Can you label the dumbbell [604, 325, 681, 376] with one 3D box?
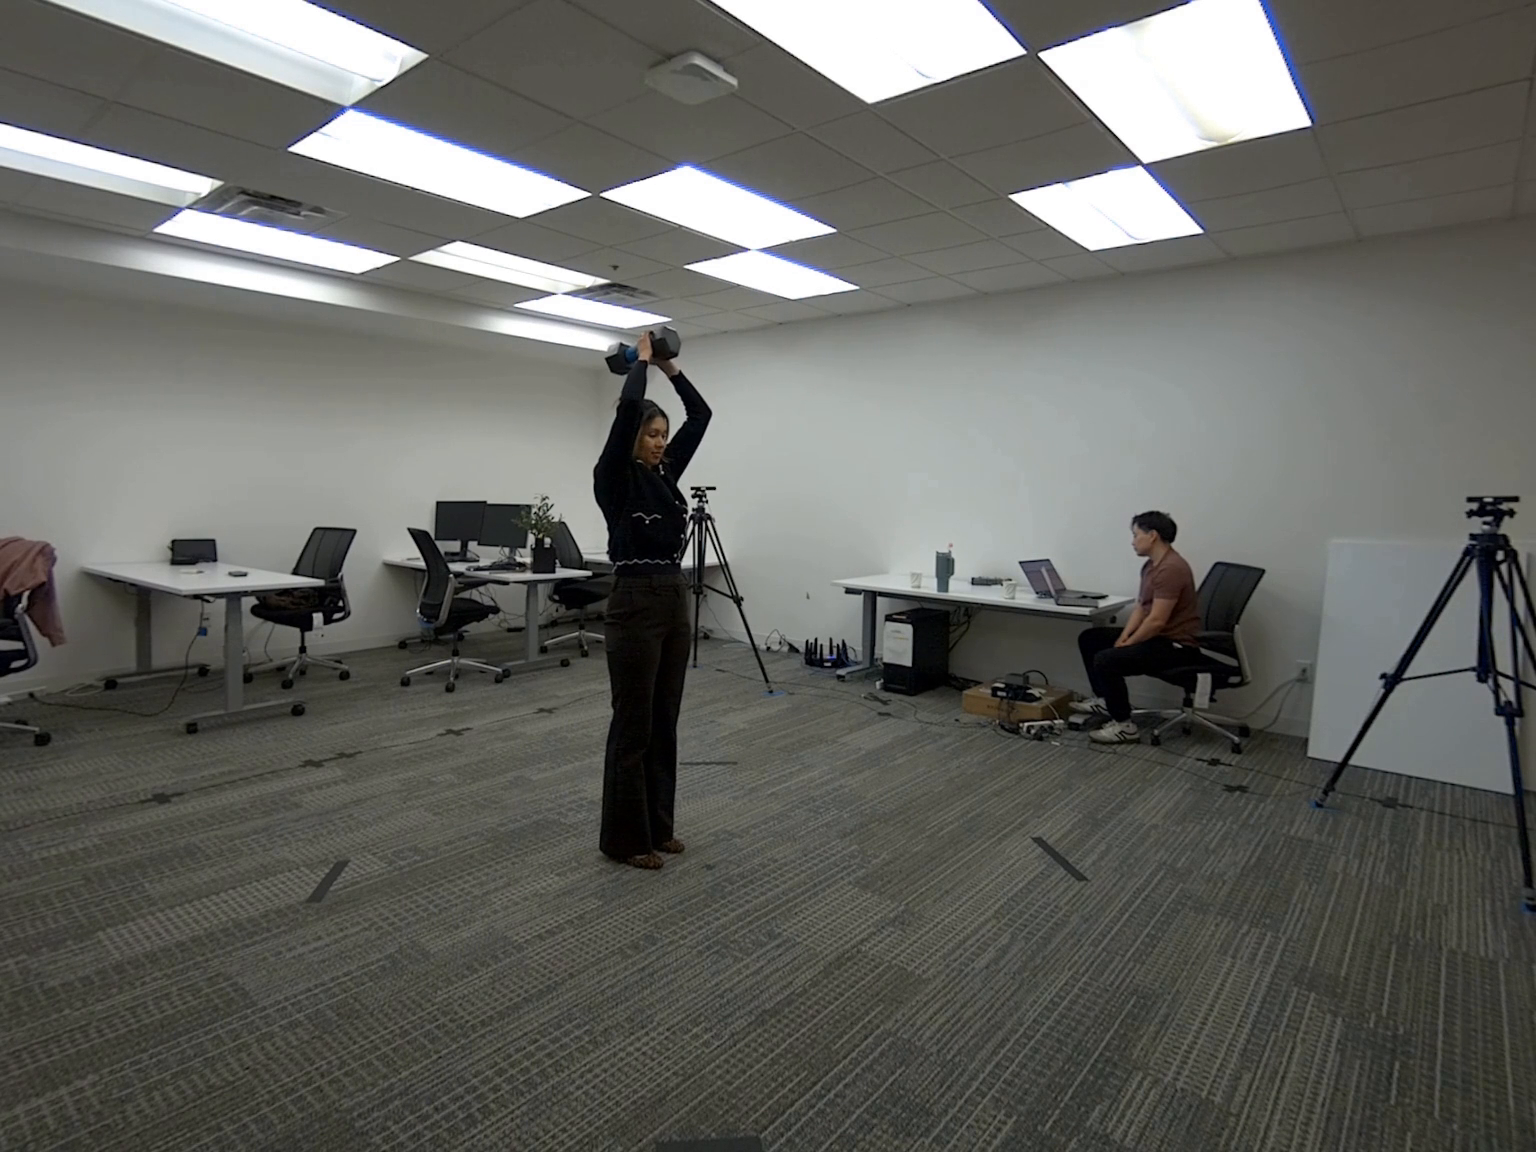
[{"bbox_3d":[-0.479,-0.848,3.187,0.300,0.120,0.109,-9,25,31],"label":"dumbbell"}]
